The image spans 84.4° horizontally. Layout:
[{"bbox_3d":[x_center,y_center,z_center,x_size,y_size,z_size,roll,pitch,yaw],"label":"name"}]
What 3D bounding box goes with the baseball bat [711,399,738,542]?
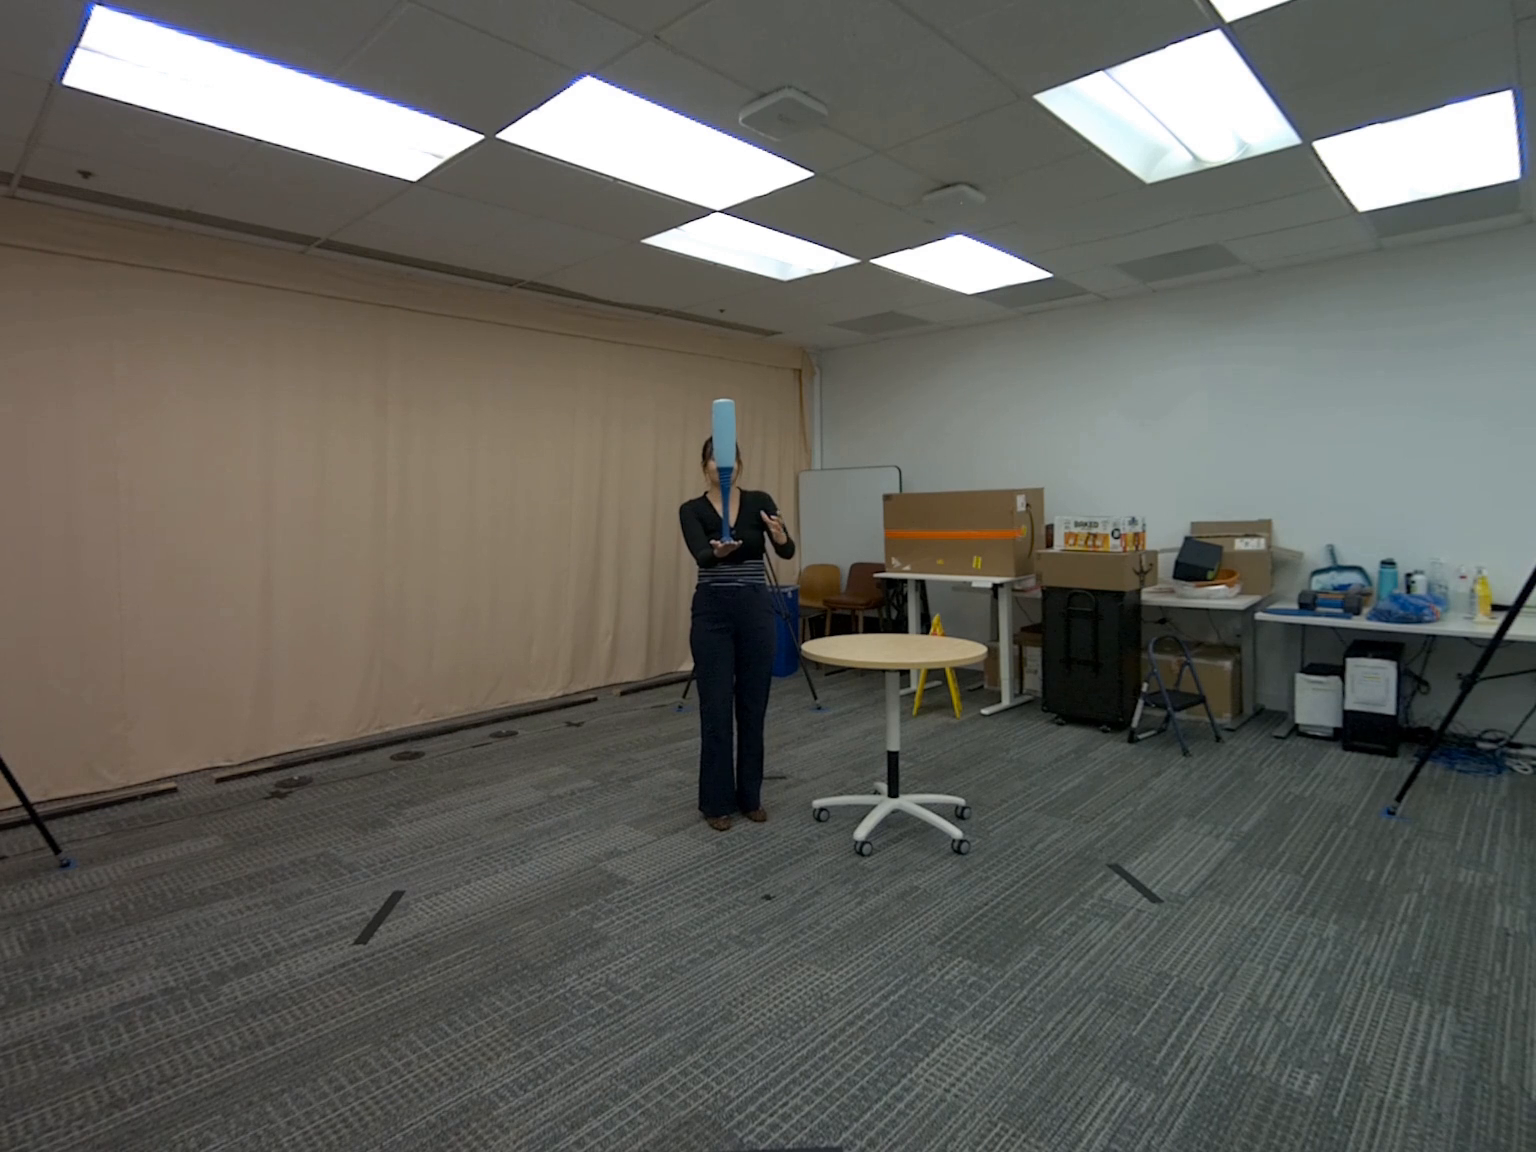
[{"bbox_3d":[-0.157,-0.390,3.174,0.089,0.542,0.089,-1,2,-2],"label":"baseball bat"}]
